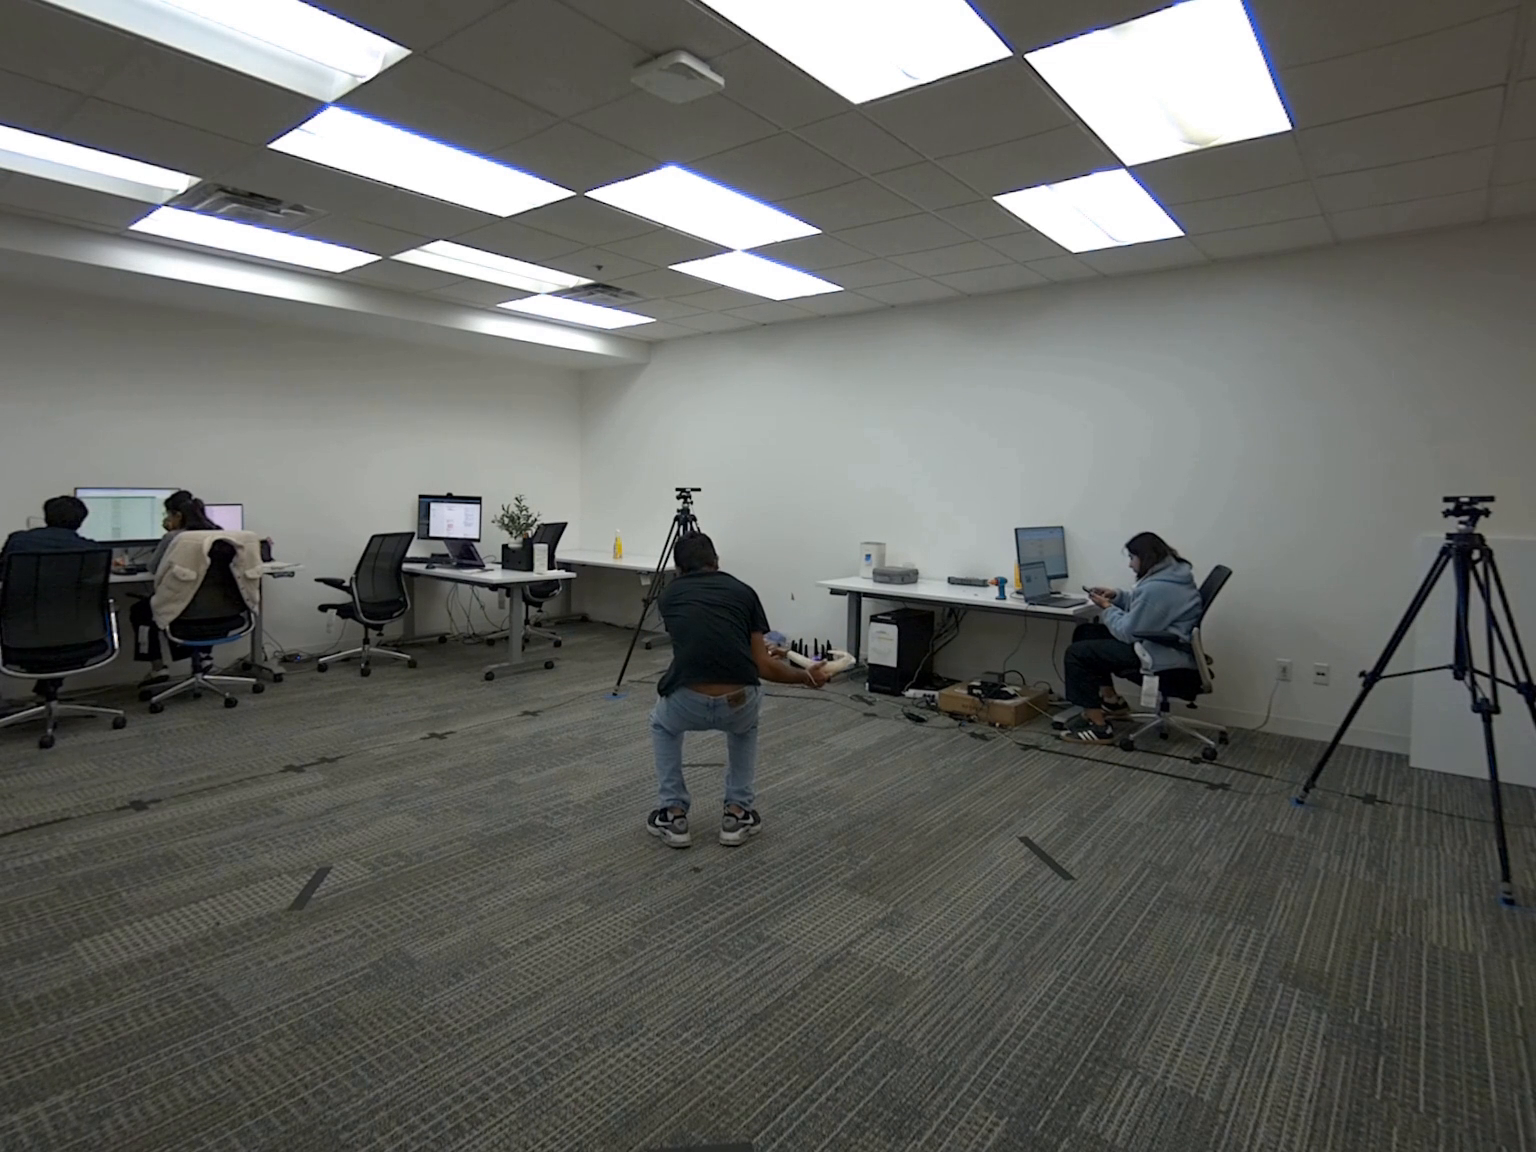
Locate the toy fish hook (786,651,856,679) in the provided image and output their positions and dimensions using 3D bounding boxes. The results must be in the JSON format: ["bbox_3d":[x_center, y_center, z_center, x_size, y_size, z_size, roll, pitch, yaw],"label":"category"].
[{"bbox_3d":[0.147,0.351,3.799,0.219,0.048,0.524,-11,13,-40],"label":"toy fish hook"}]
